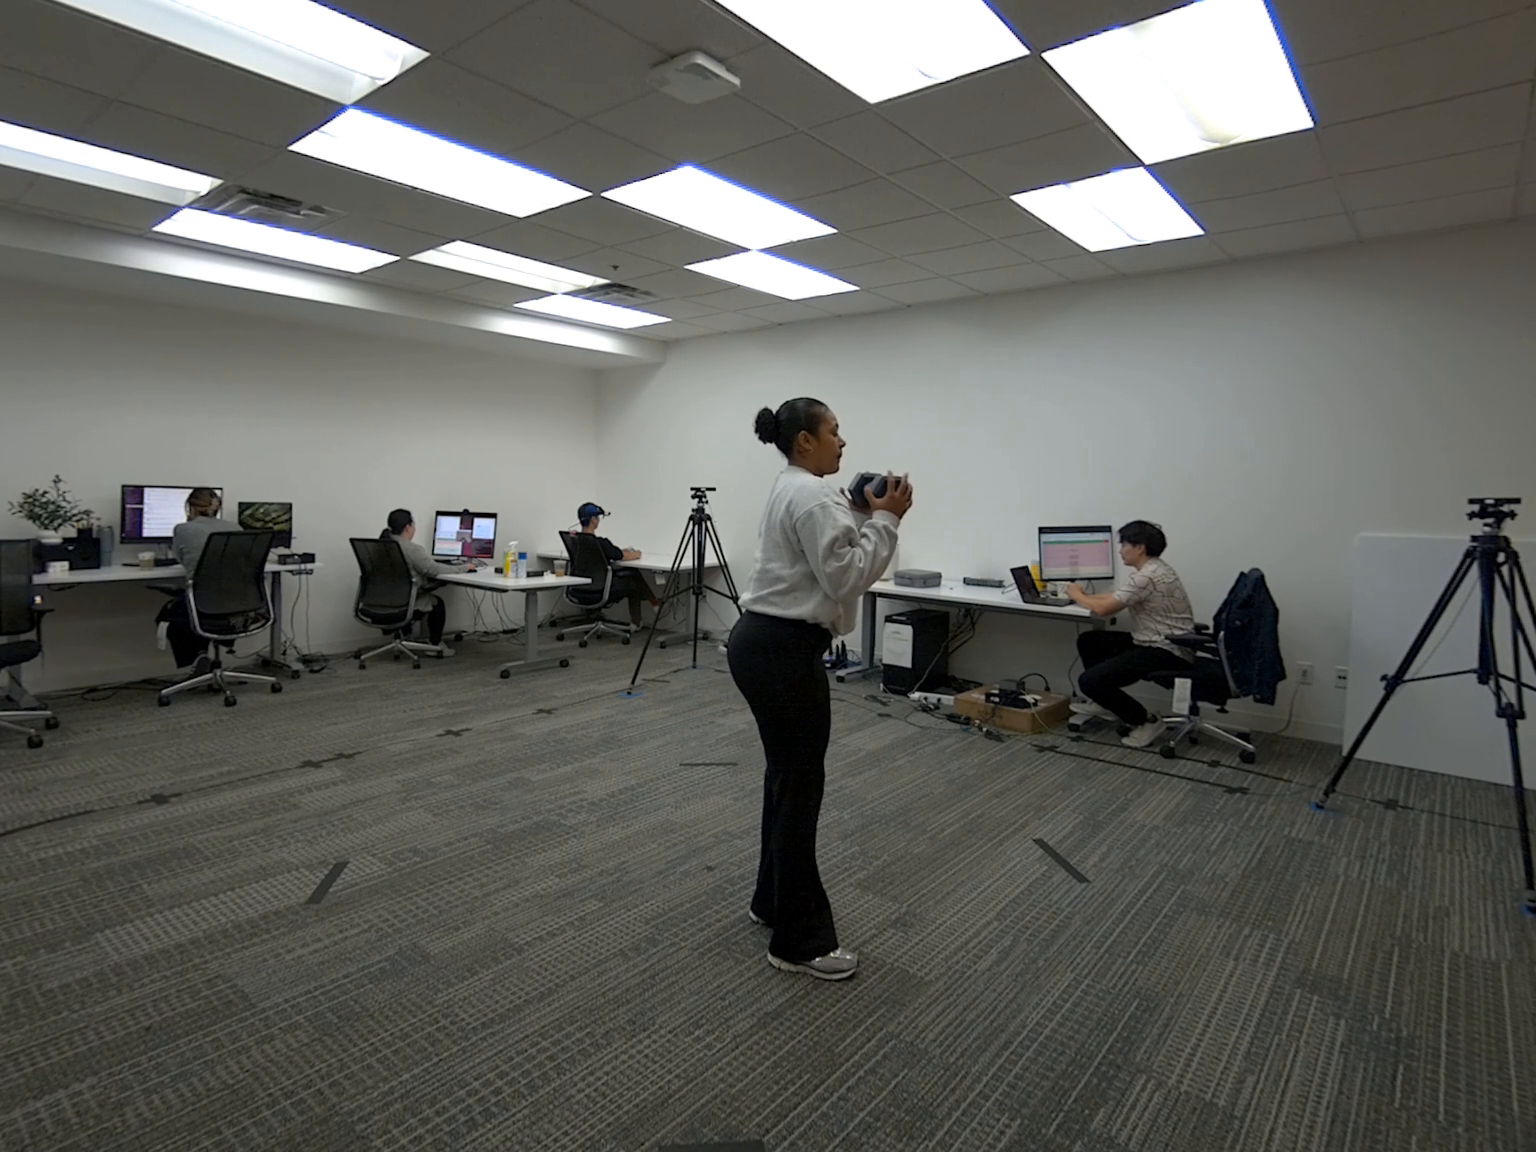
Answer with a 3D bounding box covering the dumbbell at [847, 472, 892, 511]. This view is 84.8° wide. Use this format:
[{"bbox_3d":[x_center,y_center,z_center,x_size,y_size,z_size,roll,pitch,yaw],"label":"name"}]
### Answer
[{"bbox_3d":[0.321,-0.250,2.589,0.108,0.121,0.297,-29,11,-3],"label":"dumbbell"}]
